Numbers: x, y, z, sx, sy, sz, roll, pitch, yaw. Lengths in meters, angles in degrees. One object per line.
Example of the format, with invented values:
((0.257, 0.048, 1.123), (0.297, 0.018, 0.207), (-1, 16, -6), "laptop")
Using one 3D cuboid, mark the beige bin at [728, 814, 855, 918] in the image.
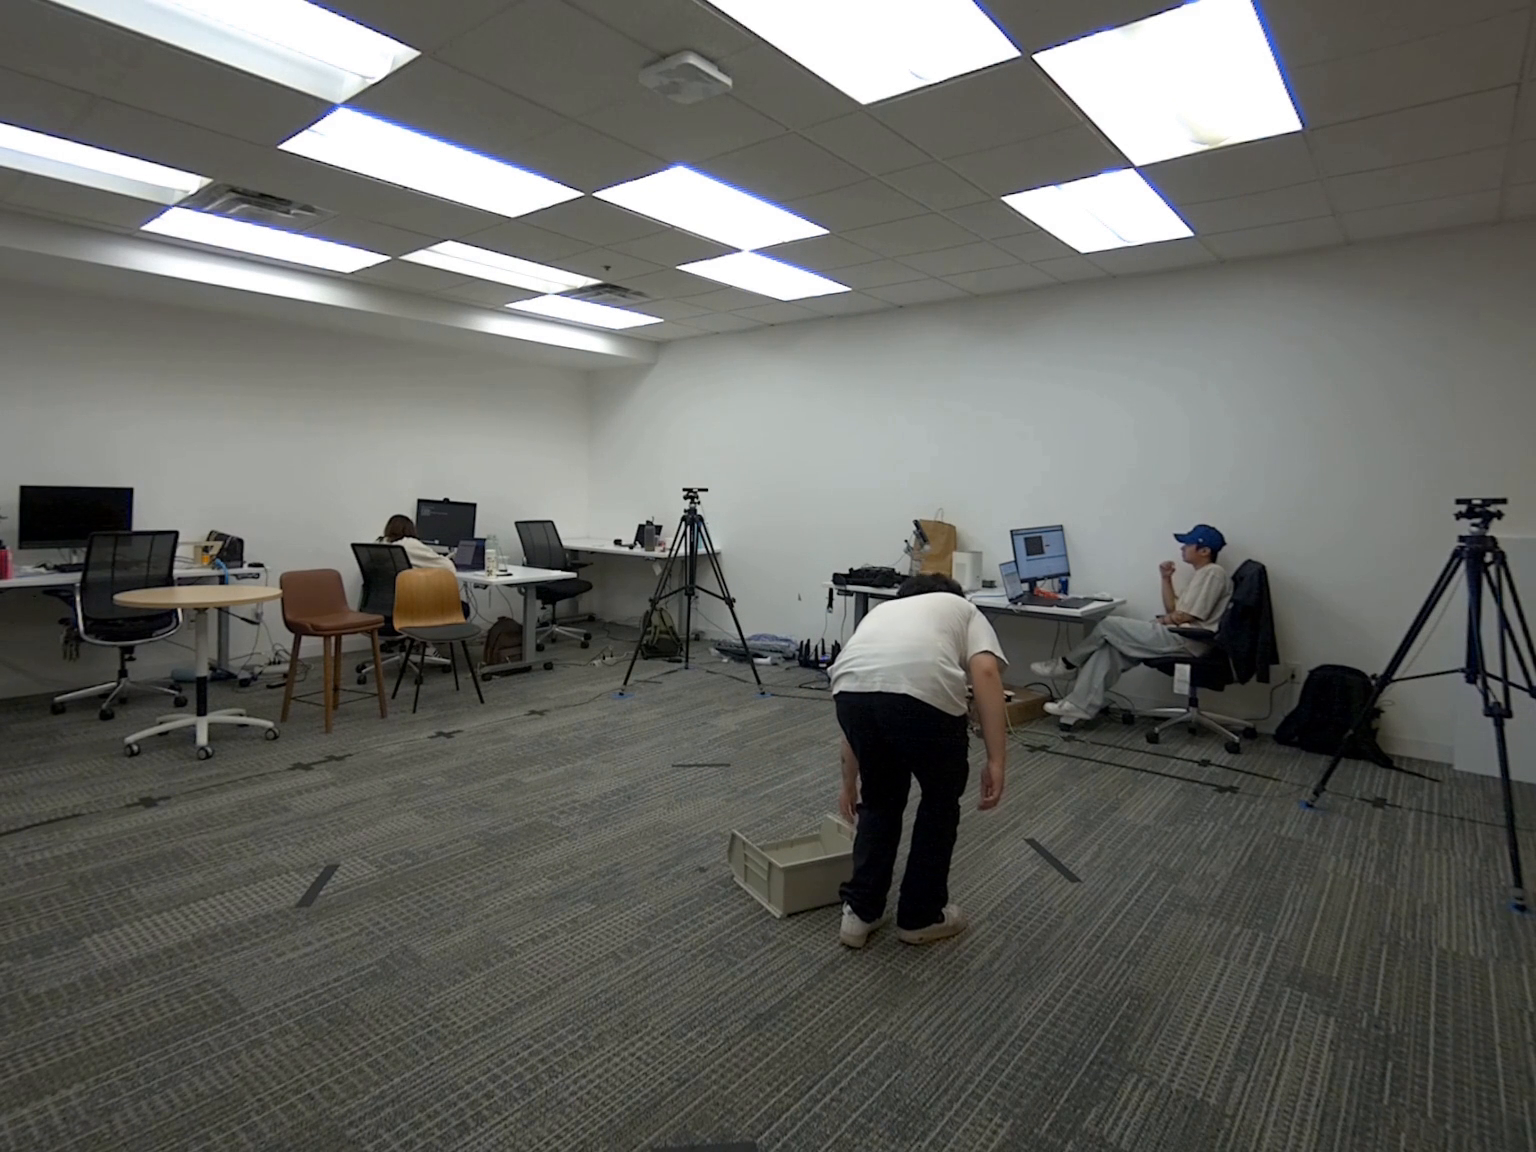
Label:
((0.116, 0.998, 2.997), (0.411, 0.188, 0.389), (-1, 6, -29), "beige bin")
